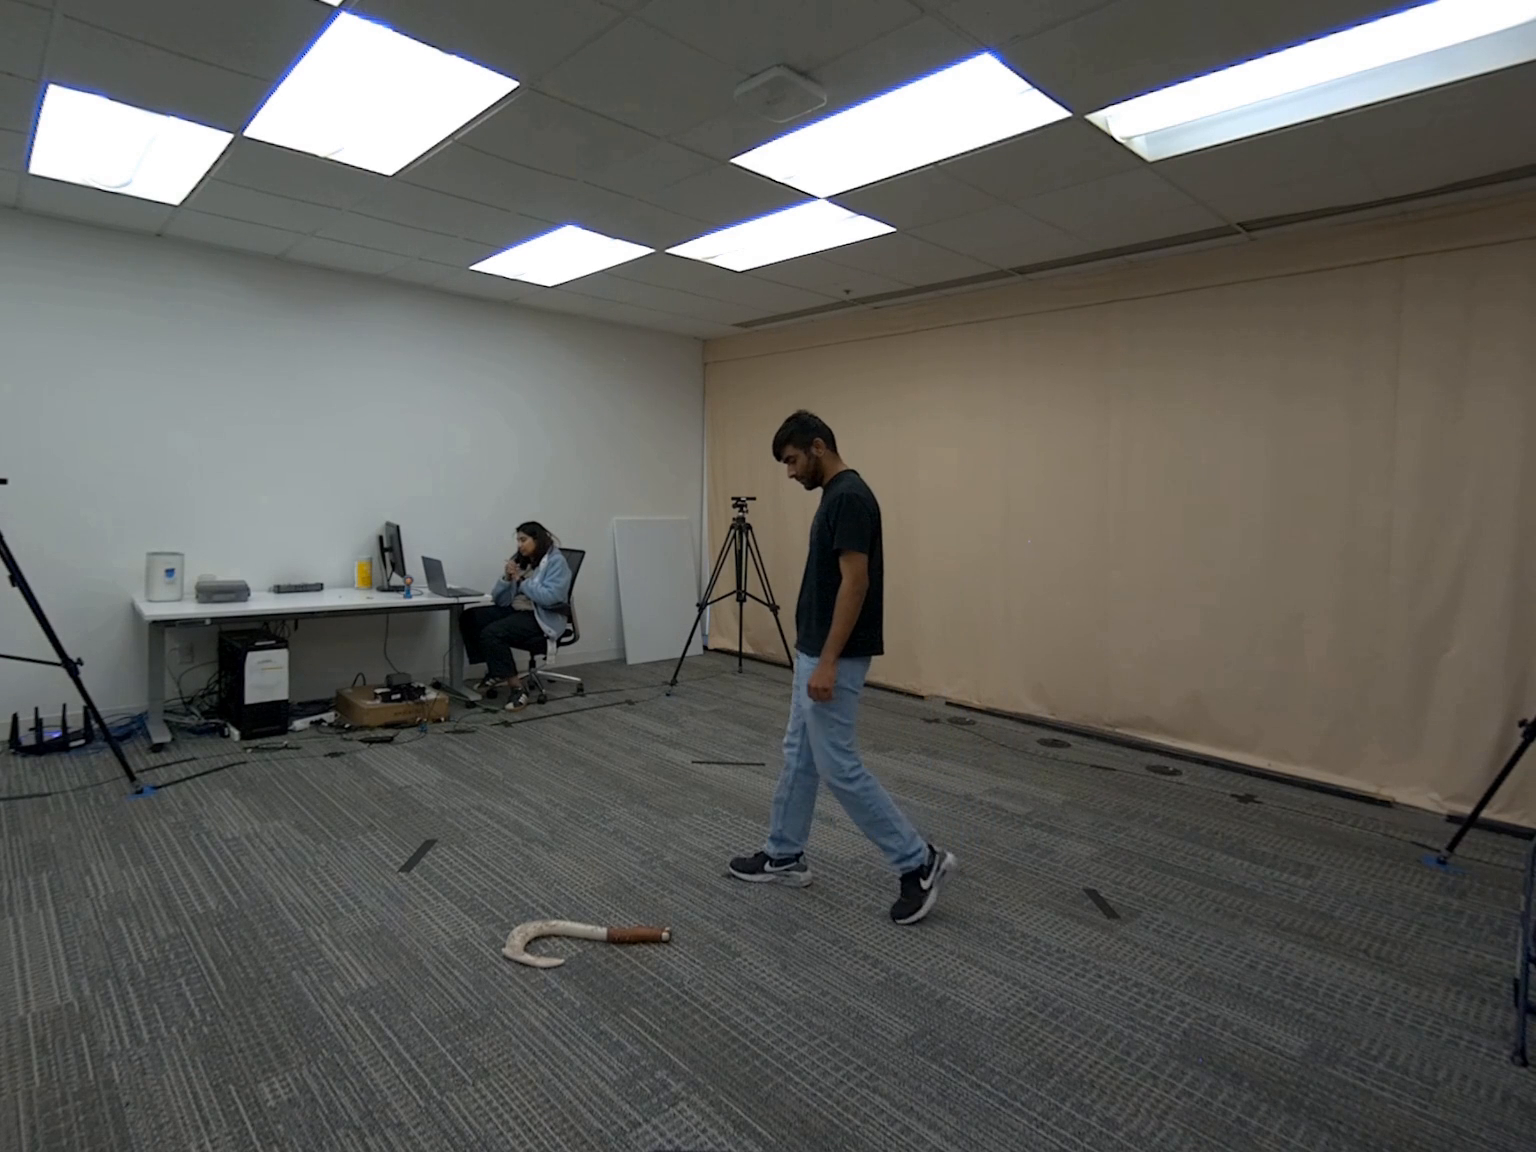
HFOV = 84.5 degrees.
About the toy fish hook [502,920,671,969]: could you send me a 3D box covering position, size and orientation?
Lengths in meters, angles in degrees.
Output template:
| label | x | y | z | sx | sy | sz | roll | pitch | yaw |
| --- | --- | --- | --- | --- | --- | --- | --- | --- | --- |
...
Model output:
| label | x | y | z | sx | sy | sz | roll | pitch | yaw |
| --- | --- | --- | --- | --- | --- | --- | --- | --- | --- |
| toy fish hook | -0.558 | 1.132 | 2.576 | 0.506 | 0.048 | 0.227 | 1 | 13 | -1 |
